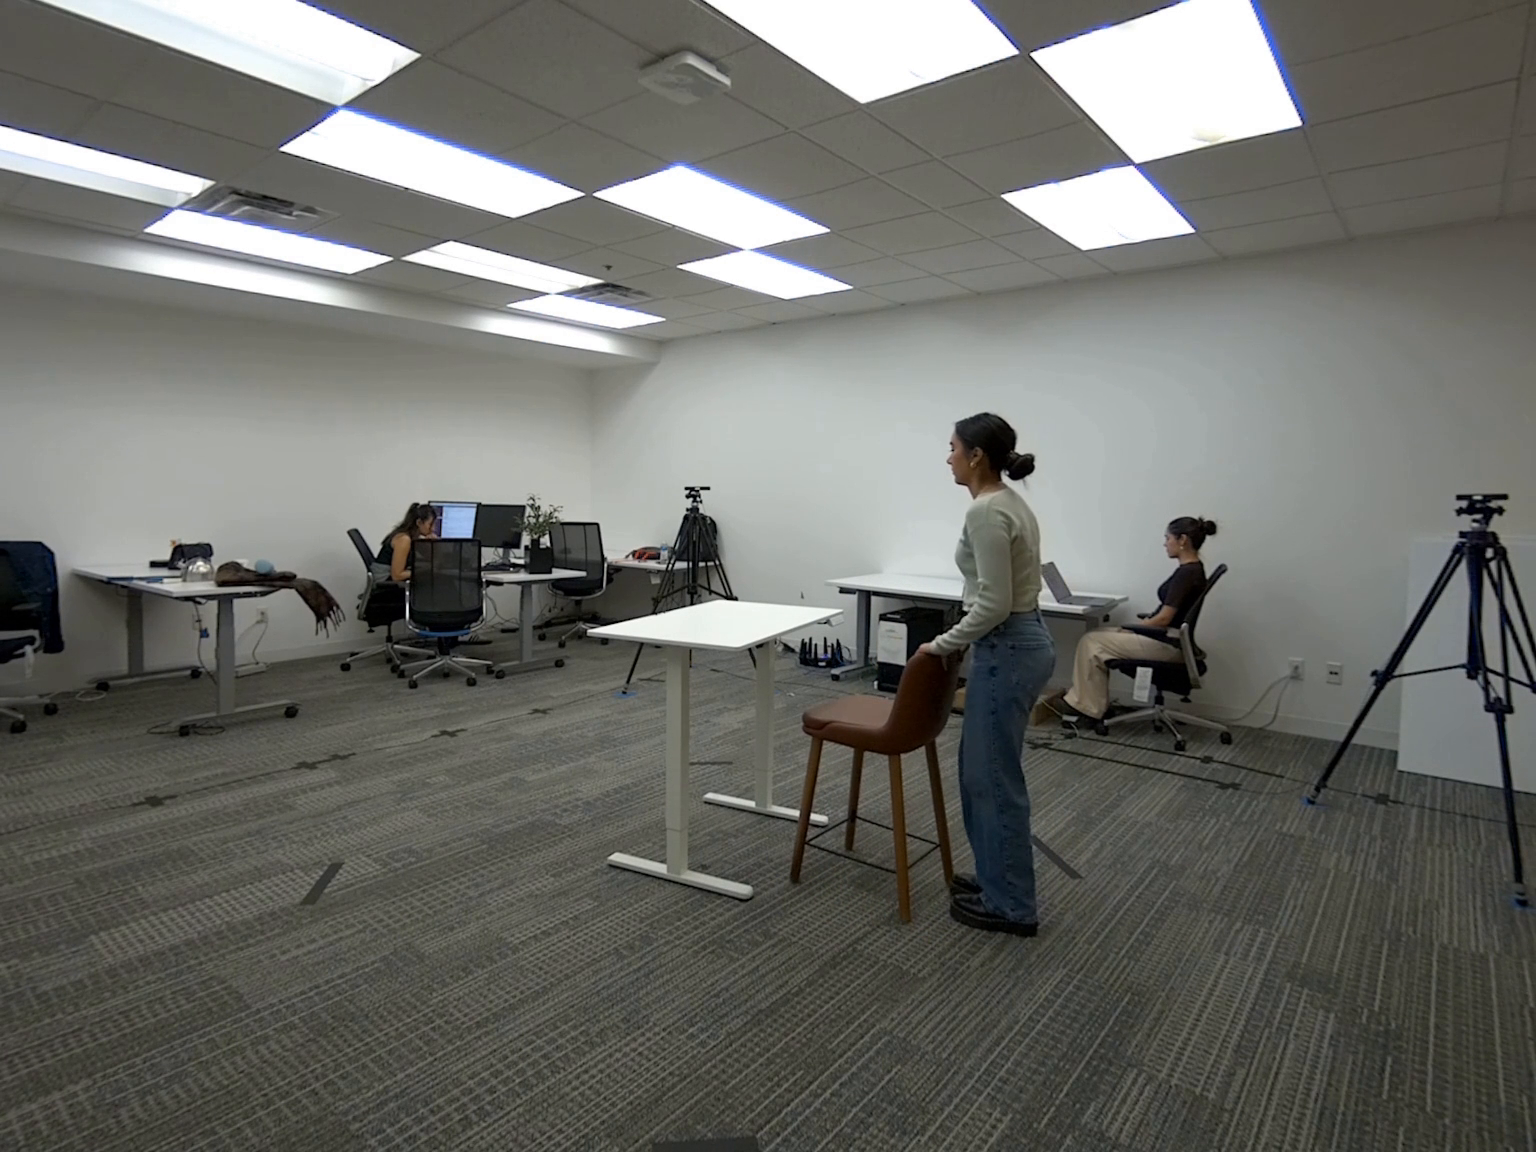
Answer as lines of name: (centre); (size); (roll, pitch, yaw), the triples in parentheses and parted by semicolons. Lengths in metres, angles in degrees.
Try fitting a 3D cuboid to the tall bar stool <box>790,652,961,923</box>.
tall bar stool: (0.382, 0.643, 3.000); (0.484, 0.886, 0.443); (8, 6, 39)
